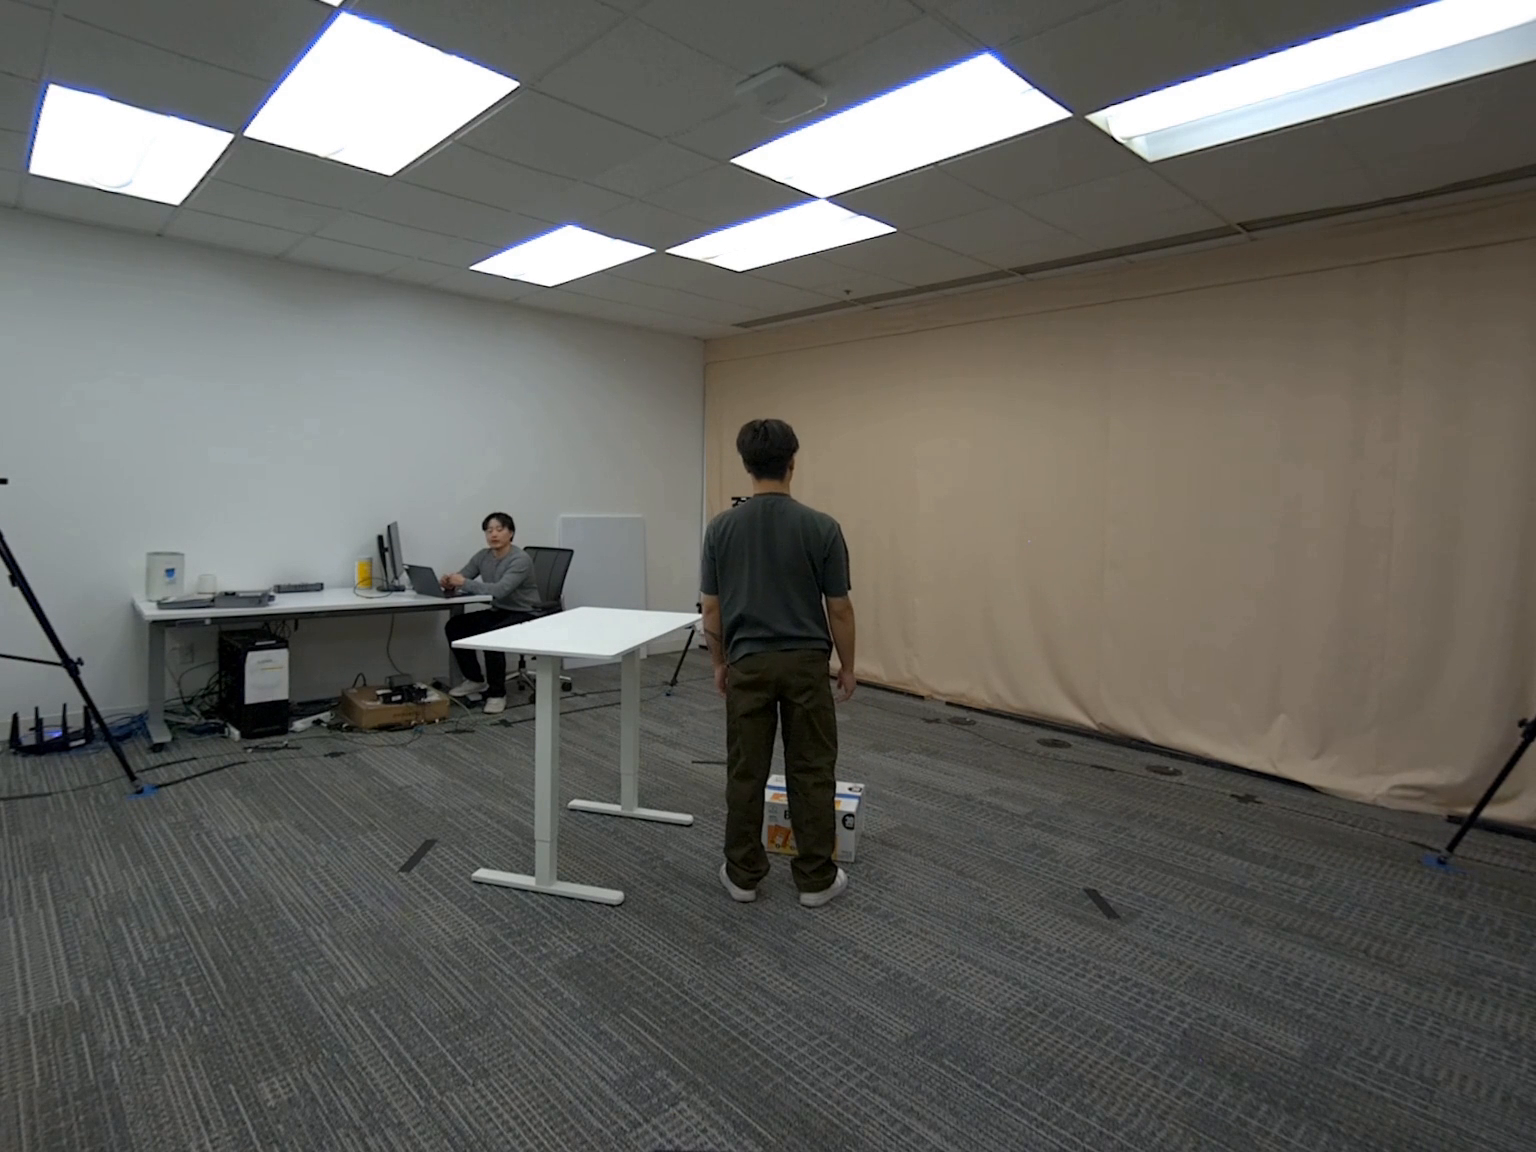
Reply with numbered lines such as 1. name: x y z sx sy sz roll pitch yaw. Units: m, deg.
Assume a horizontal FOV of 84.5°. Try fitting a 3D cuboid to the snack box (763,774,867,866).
1. snack box: 0.175 0.978 3.441 0.410 0.205 0.337 2 4 13
